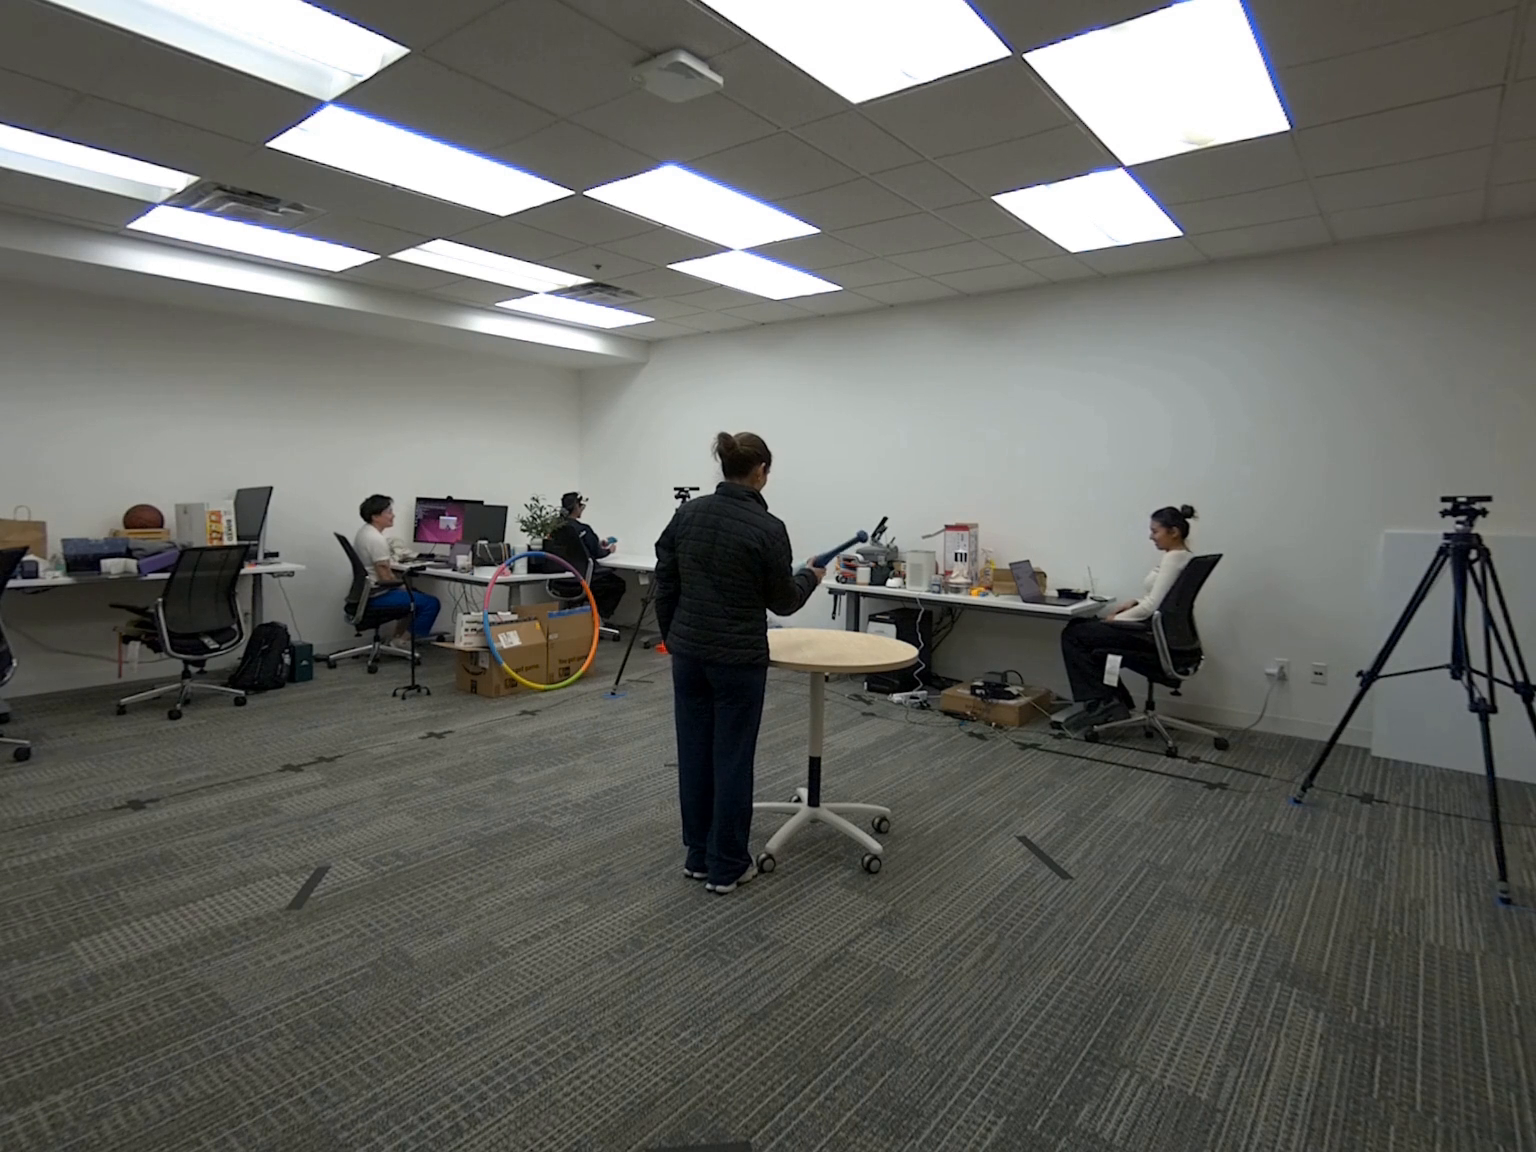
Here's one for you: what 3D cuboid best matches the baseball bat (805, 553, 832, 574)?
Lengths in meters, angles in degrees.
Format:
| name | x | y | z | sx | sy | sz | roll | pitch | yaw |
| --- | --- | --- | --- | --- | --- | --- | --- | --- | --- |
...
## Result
| name | x | y | z | sx | sy | sz | roll | pitch | yaw |
| --- | --- | --- | --- | --- | --- | --- | --- | --- | --- |
| baseball bat | 0.211 | -0.053 | 3.305 | 0.086 | 0.091 | 0.548 | -2 | -21 | -39 |
